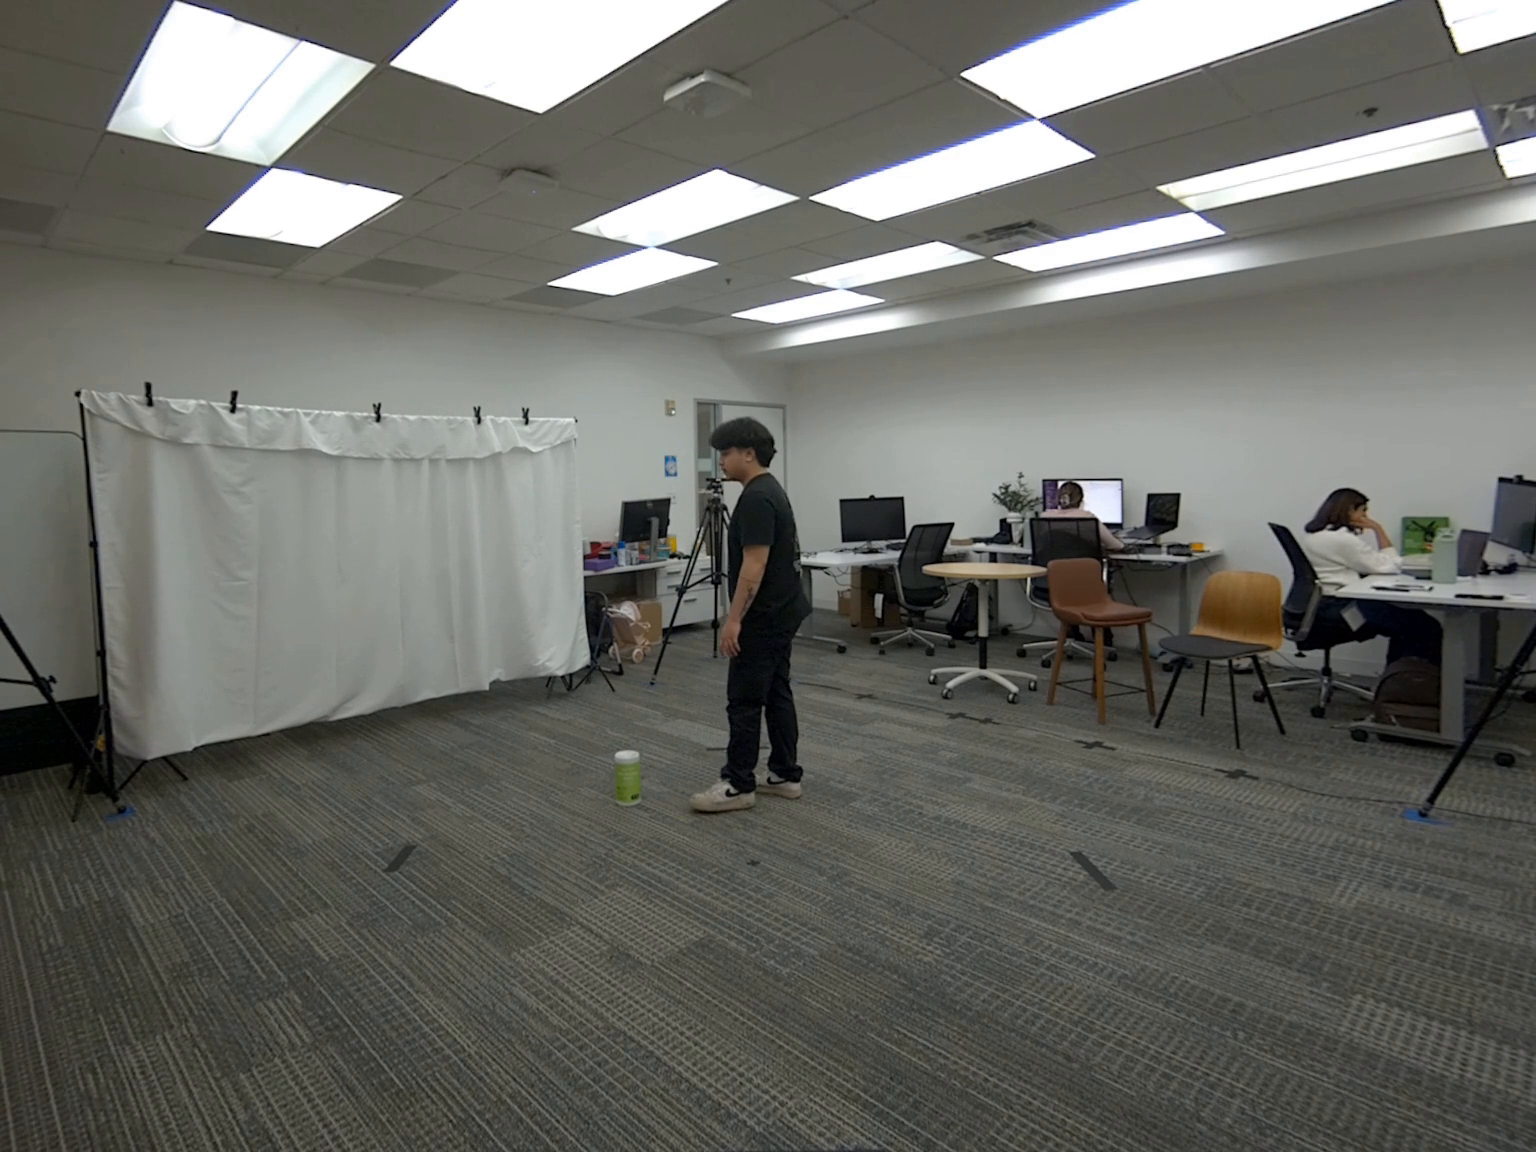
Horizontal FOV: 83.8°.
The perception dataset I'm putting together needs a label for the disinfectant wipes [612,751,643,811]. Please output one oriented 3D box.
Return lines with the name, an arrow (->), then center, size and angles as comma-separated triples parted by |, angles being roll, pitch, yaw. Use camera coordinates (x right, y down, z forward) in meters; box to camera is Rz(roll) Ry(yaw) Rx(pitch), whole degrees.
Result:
disinfectant wipes -> -0.609, 0.882, 3.710 | 0.118, 0.217, 0.118 | 1, 3, -2
